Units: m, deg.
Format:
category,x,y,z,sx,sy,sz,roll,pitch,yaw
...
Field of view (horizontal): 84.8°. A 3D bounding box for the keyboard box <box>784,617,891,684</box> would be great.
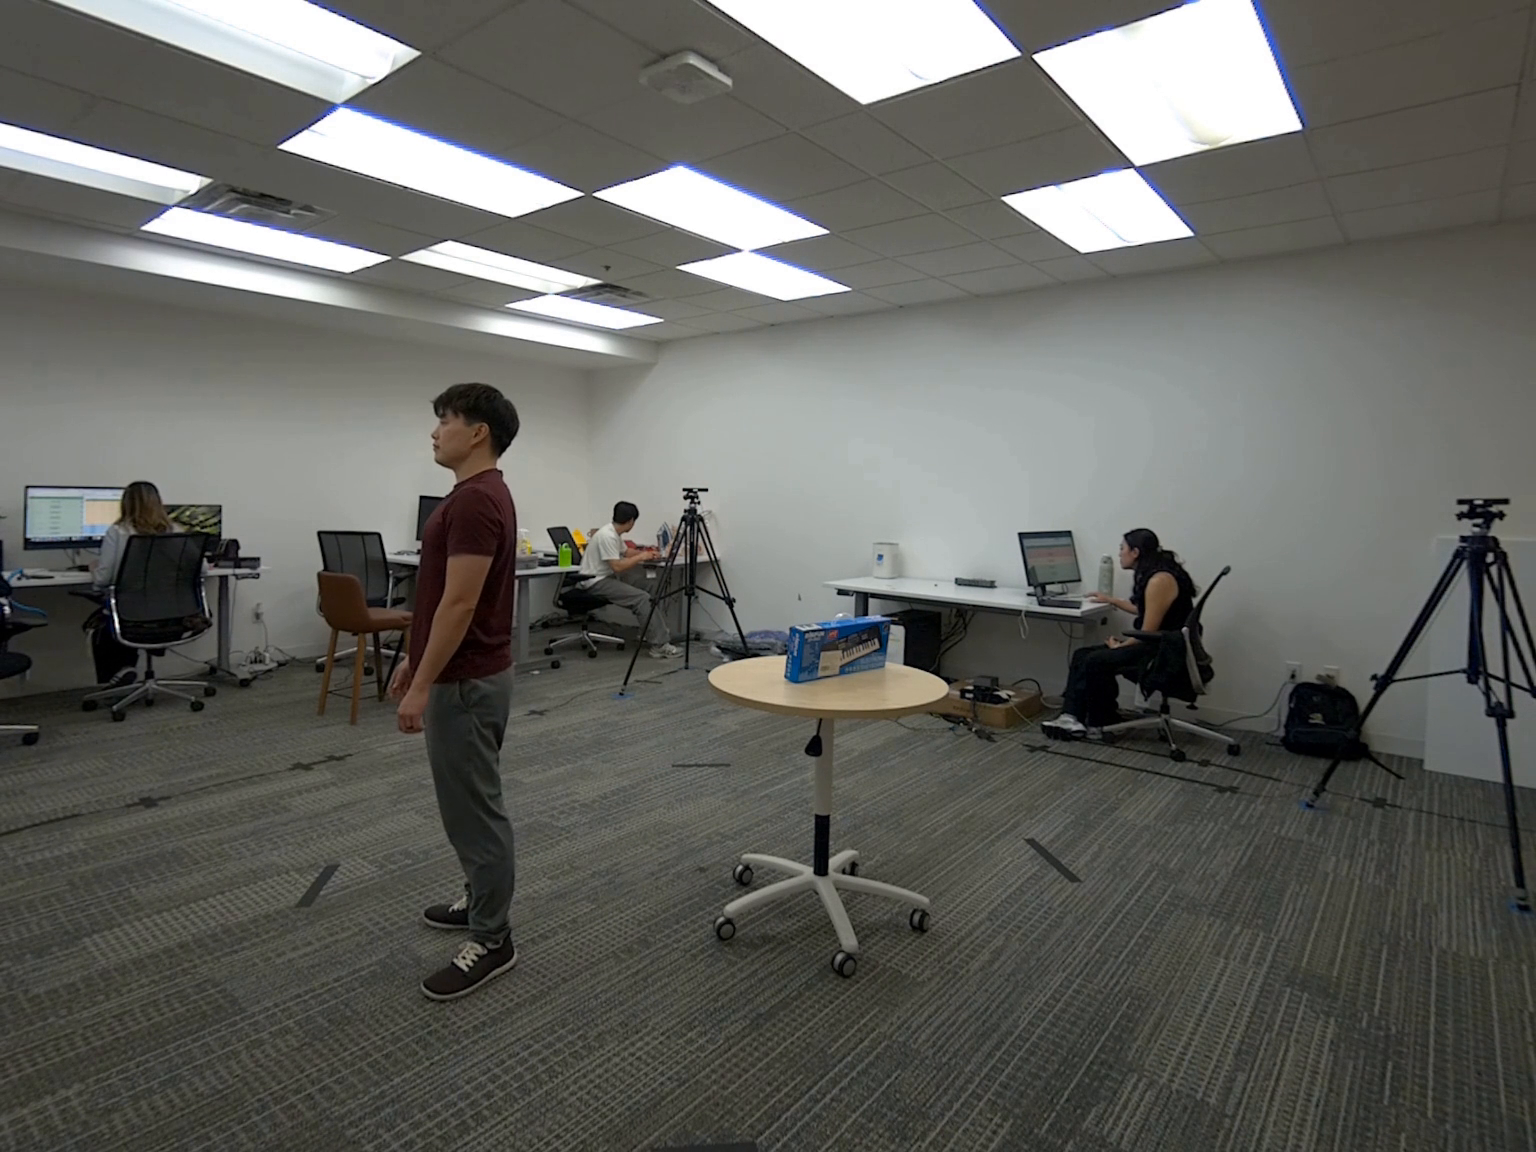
category,x,y,z,sx,sy,sz,roll,pitch,yaw
keyboard box,0.236,0.240,2.820,0.424,0.174,0.061,-4,13,-41
